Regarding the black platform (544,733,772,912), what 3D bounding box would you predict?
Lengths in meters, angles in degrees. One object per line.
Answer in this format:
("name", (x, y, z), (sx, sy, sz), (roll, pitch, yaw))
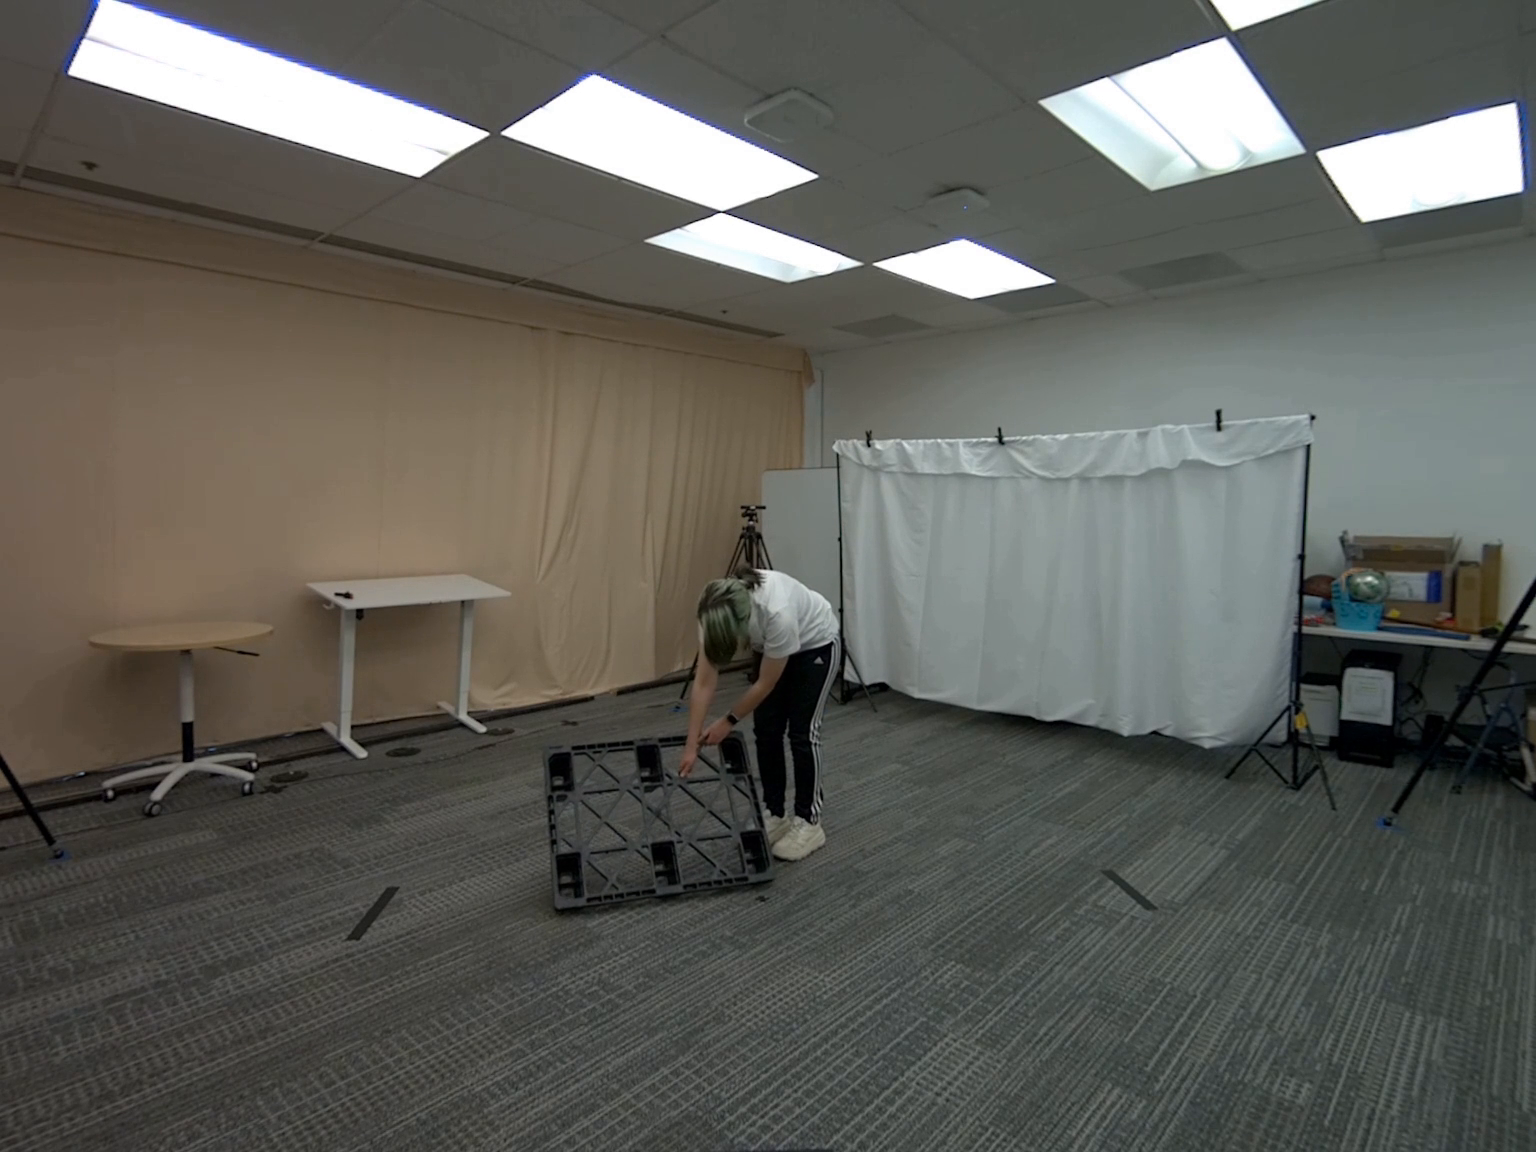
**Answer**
("black platform", (-0.428, 0.905, 3.168), (0.792, 0.620, 0.142), (-2, -38, -16))
